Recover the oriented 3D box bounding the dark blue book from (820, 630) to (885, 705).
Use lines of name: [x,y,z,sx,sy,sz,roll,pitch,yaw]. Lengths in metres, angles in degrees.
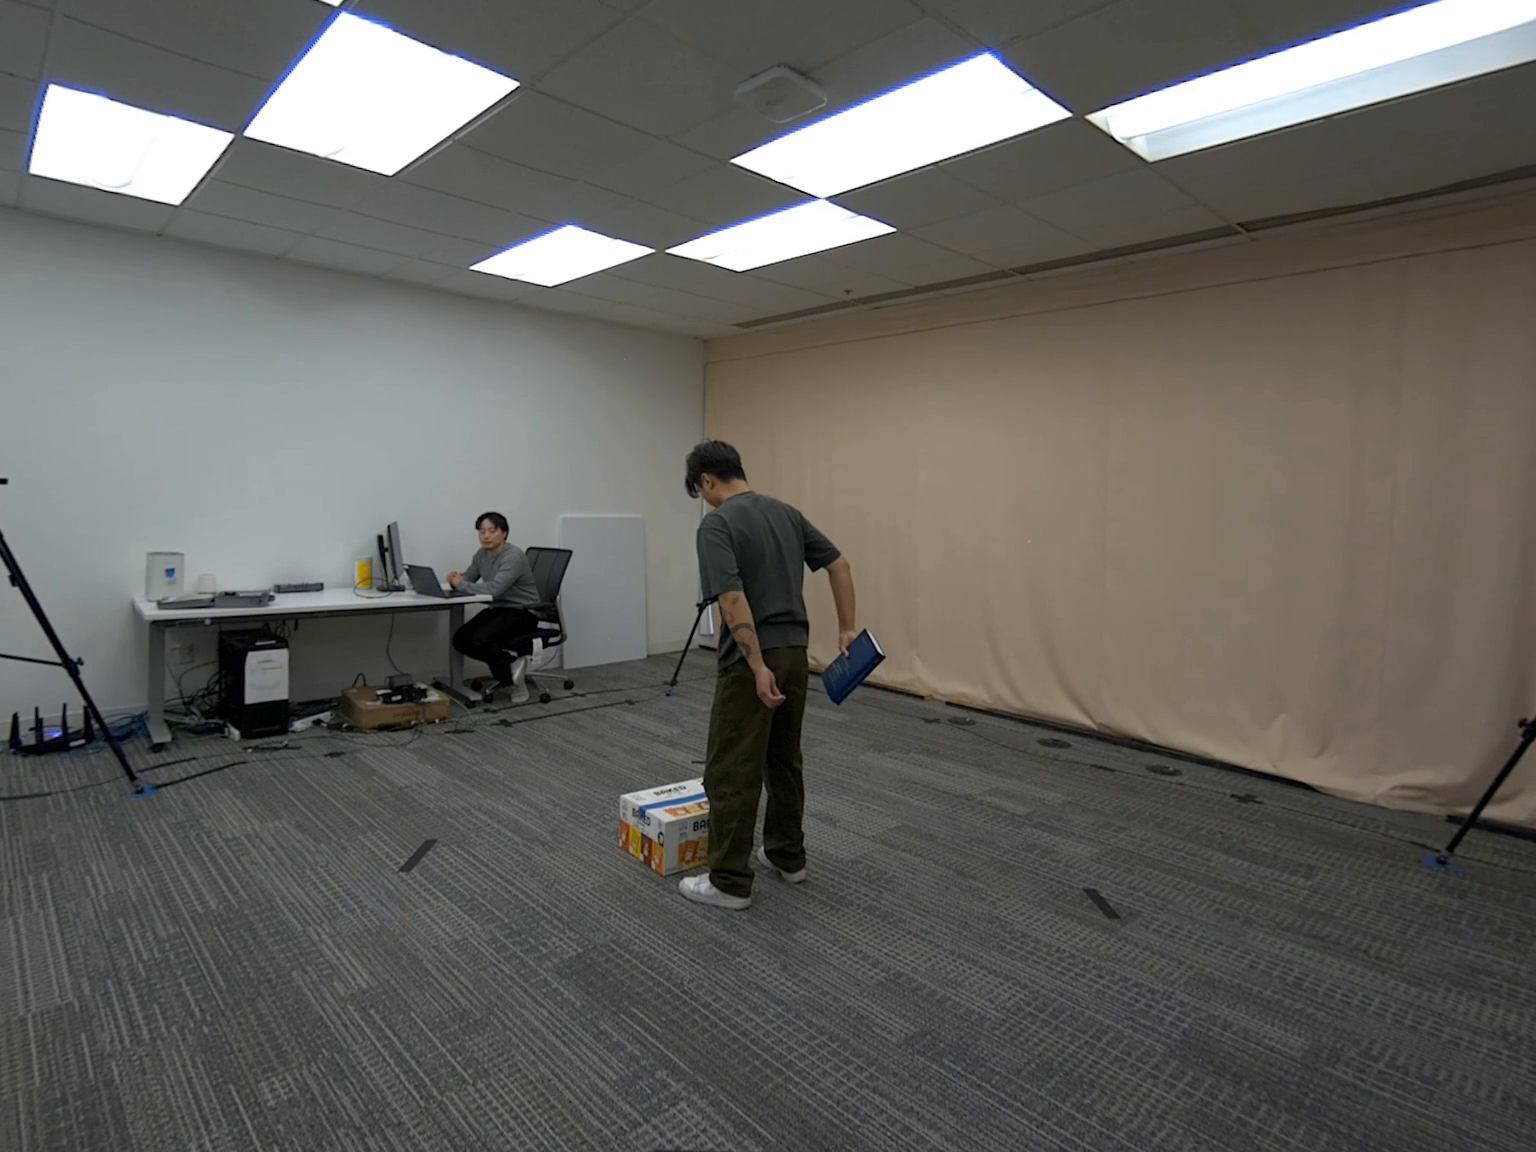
dark blue book: [0.287,0.315,2.977,0.044,0.245,0.167,37,14,-24]
